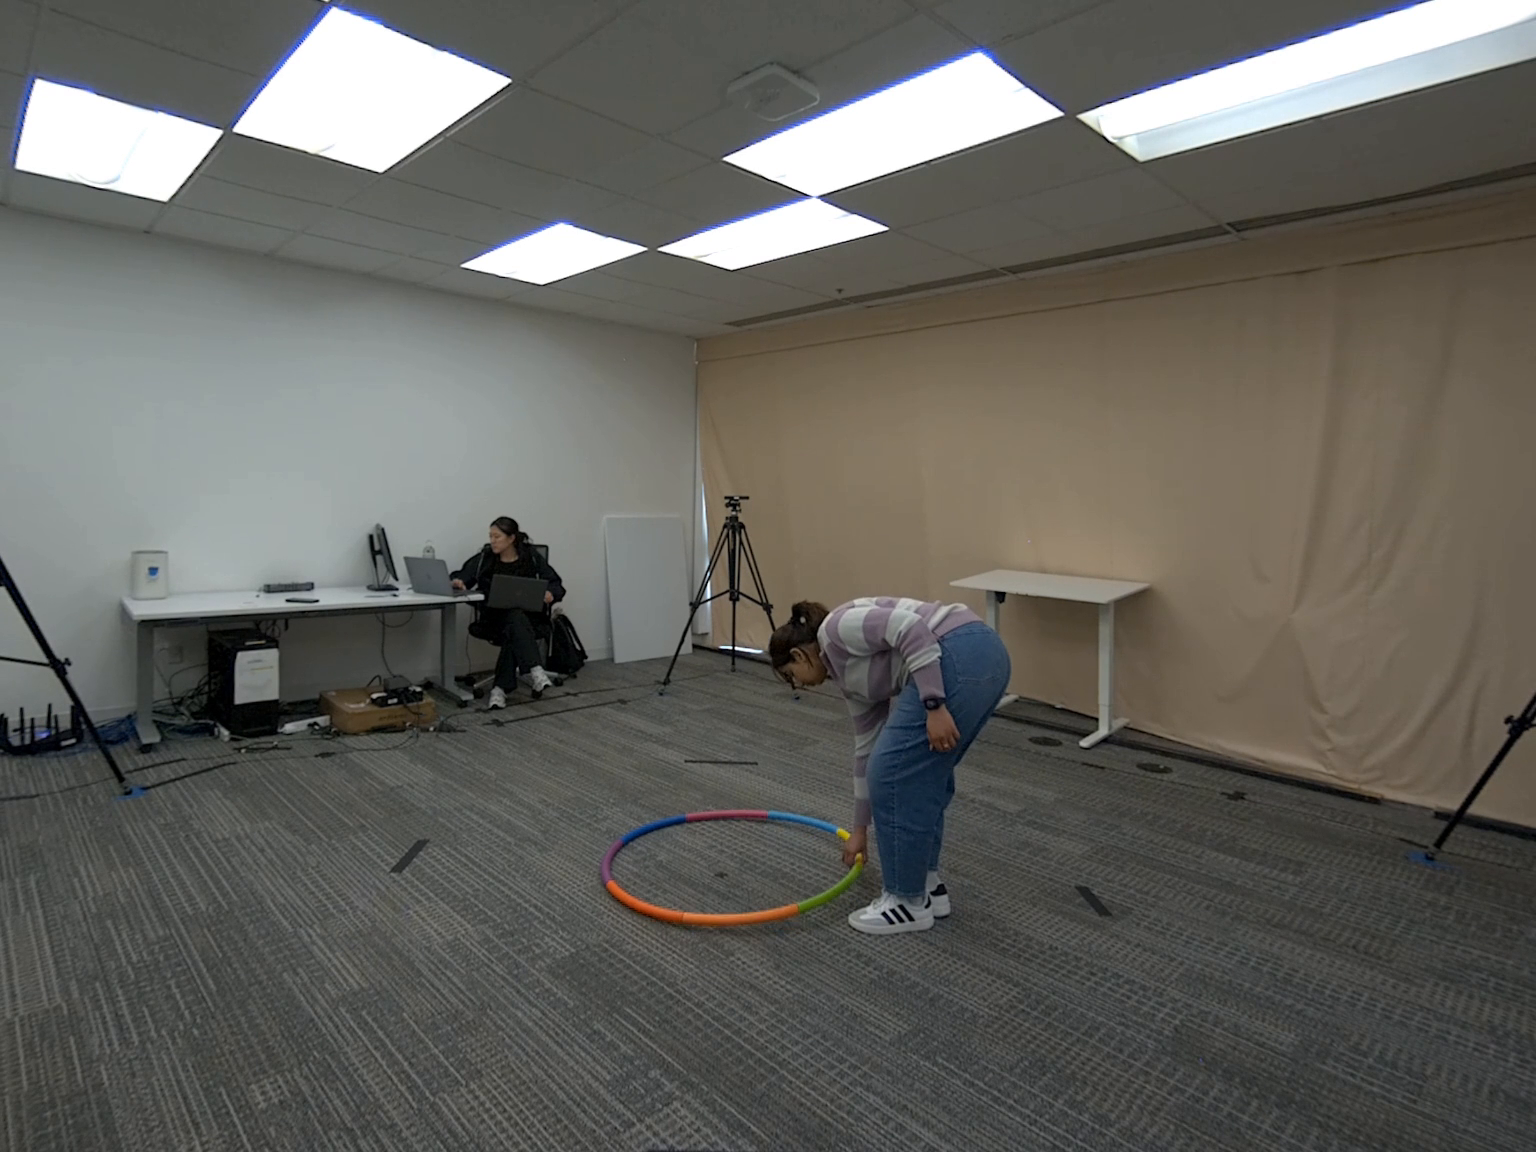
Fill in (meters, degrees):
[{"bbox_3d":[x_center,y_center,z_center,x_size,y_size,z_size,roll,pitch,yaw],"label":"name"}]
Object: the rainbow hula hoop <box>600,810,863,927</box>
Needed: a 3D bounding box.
[{"bbox_3d":[-0.138,1.046,3.171,0.978,0.035,0.981,-2,4,-1],"label":"rainbow hula hoop"}]
